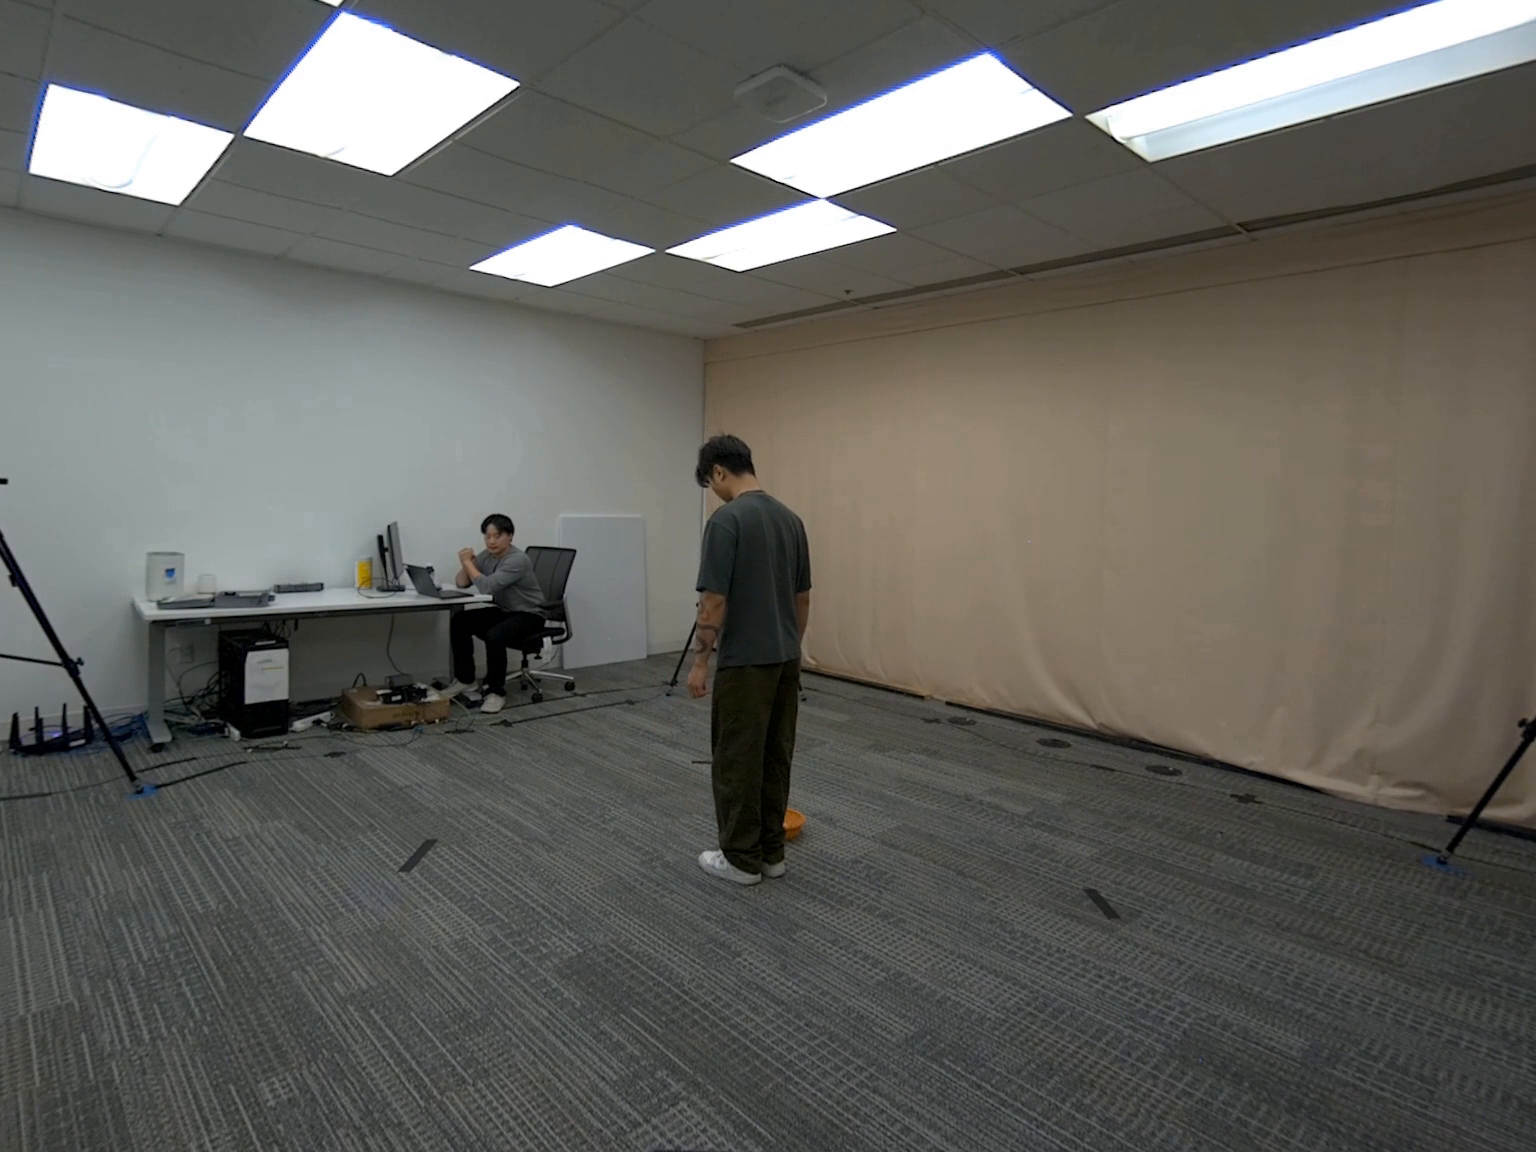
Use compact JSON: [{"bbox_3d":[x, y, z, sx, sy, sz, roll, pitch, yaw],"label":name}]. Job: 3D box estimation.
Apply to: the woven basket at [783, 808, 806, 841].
[{"bbox_3d":[-0.022,1.036,3.537,0.358,0.073,0.248,4,6,27],"label":"woven basket"}]
